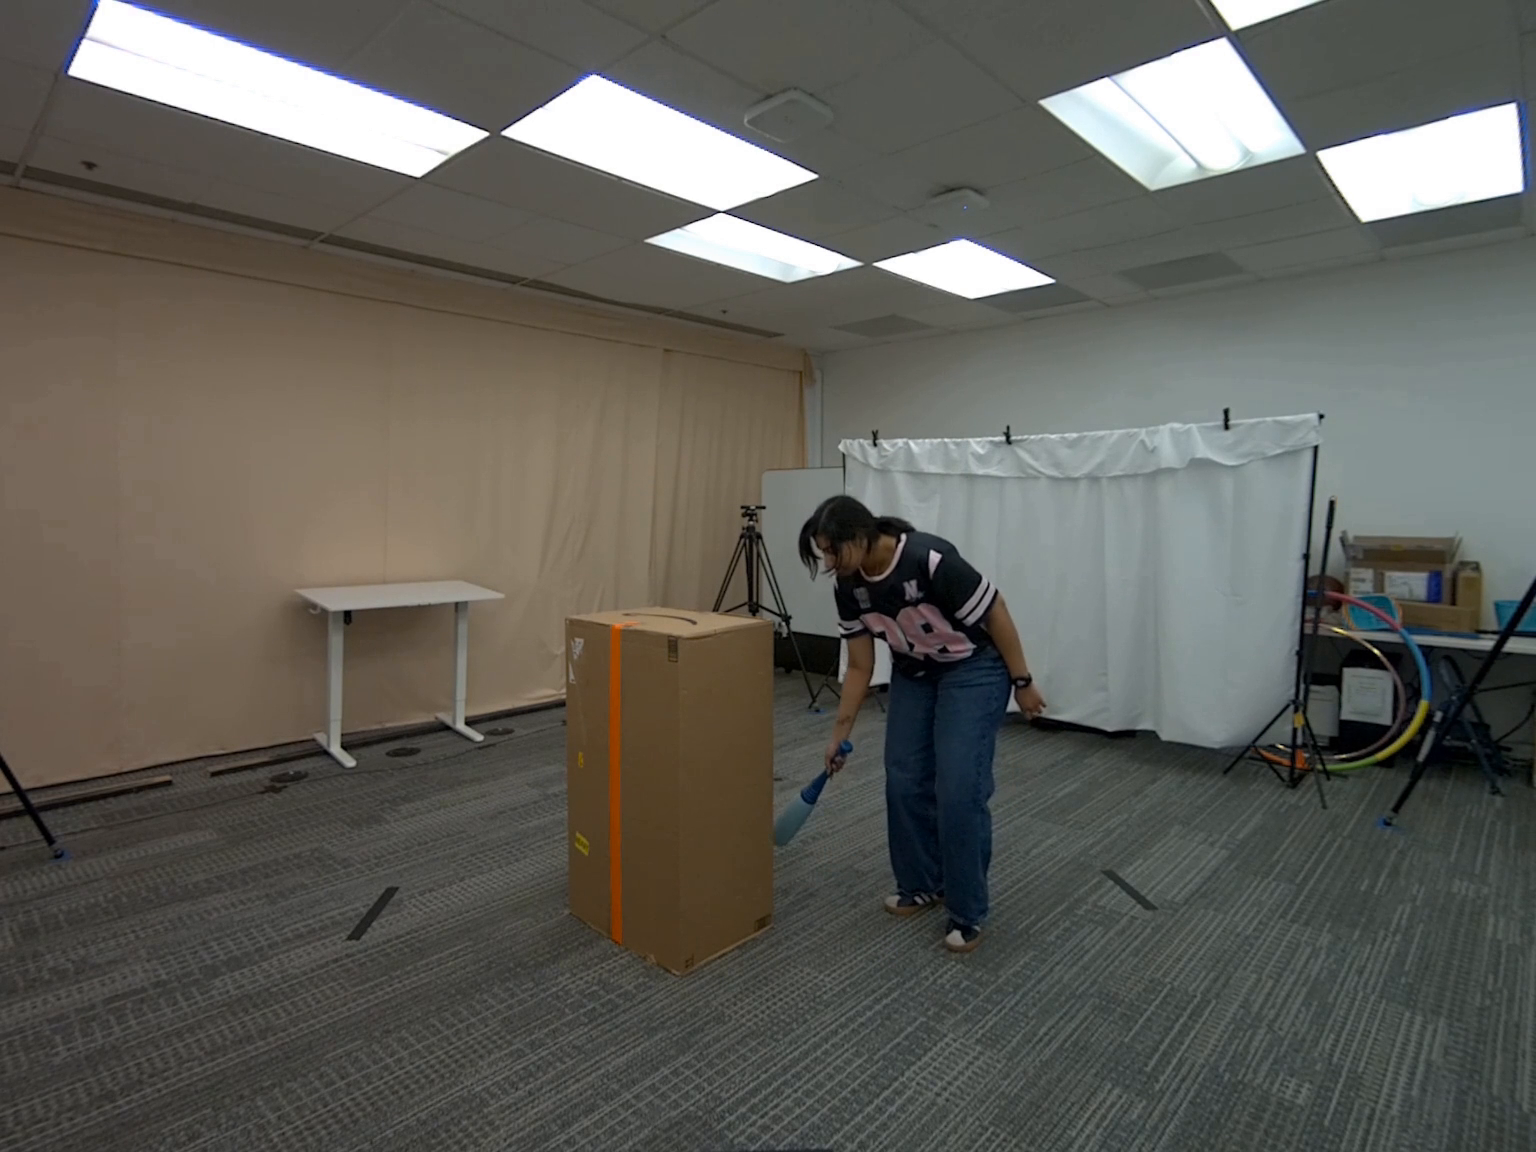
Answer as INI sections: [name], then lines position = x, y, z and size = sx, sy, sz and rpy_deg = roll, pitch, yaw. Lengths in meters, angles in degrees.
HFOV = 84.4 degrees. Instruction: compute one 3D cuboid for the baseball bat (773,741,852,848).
[baseball bat]
position = 0.154, 0.783, 2.985
size = 0.087, 0.542, 0.091
rpy_deg = 21, 31, -15
